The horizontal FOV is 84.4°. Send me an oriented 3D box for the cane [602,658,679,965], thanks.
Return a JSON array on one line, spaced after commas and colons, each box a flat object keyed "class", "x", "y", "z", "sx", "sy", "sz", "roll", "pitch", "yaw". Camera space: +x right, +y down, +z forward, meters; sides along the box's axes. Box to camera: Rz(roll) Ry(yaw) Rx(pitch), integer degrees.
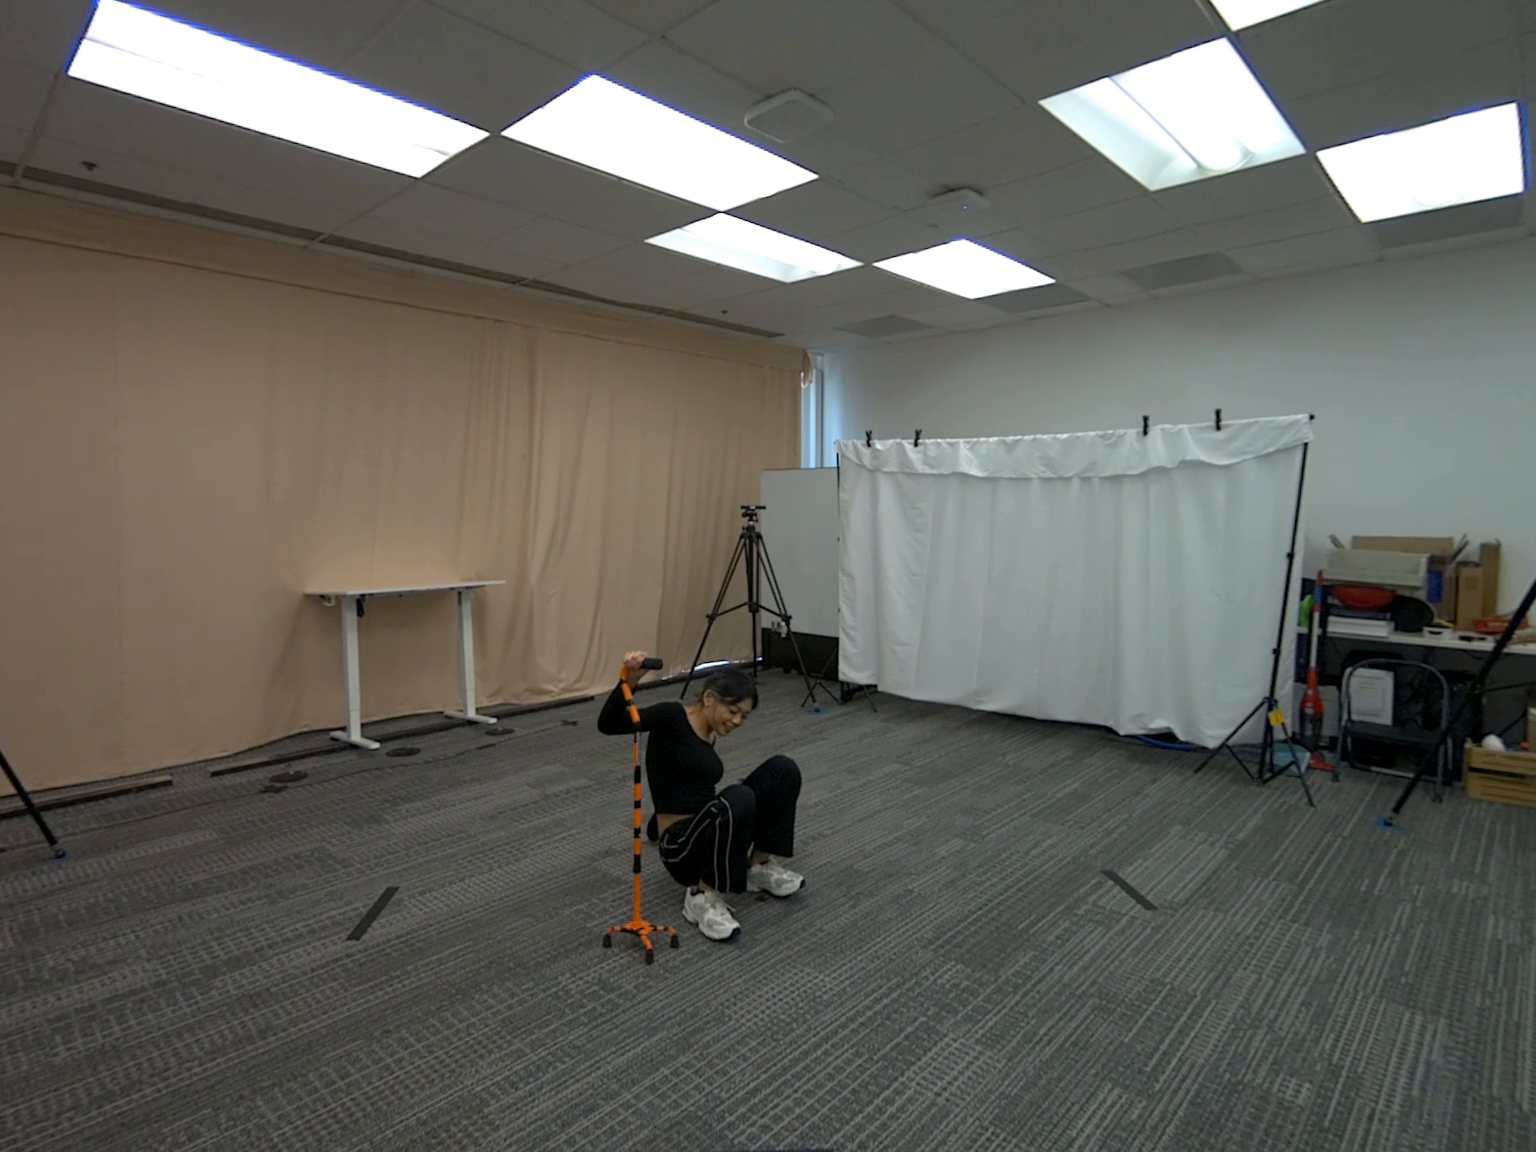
[{"class": "cane", "x": -0.401, "y": 0.711, "z": 2.670, "sx": 0.213, "sy": 0.908, "sz": 0.147, "roll": 0, "pitch": 0, "yaw": 36}]
